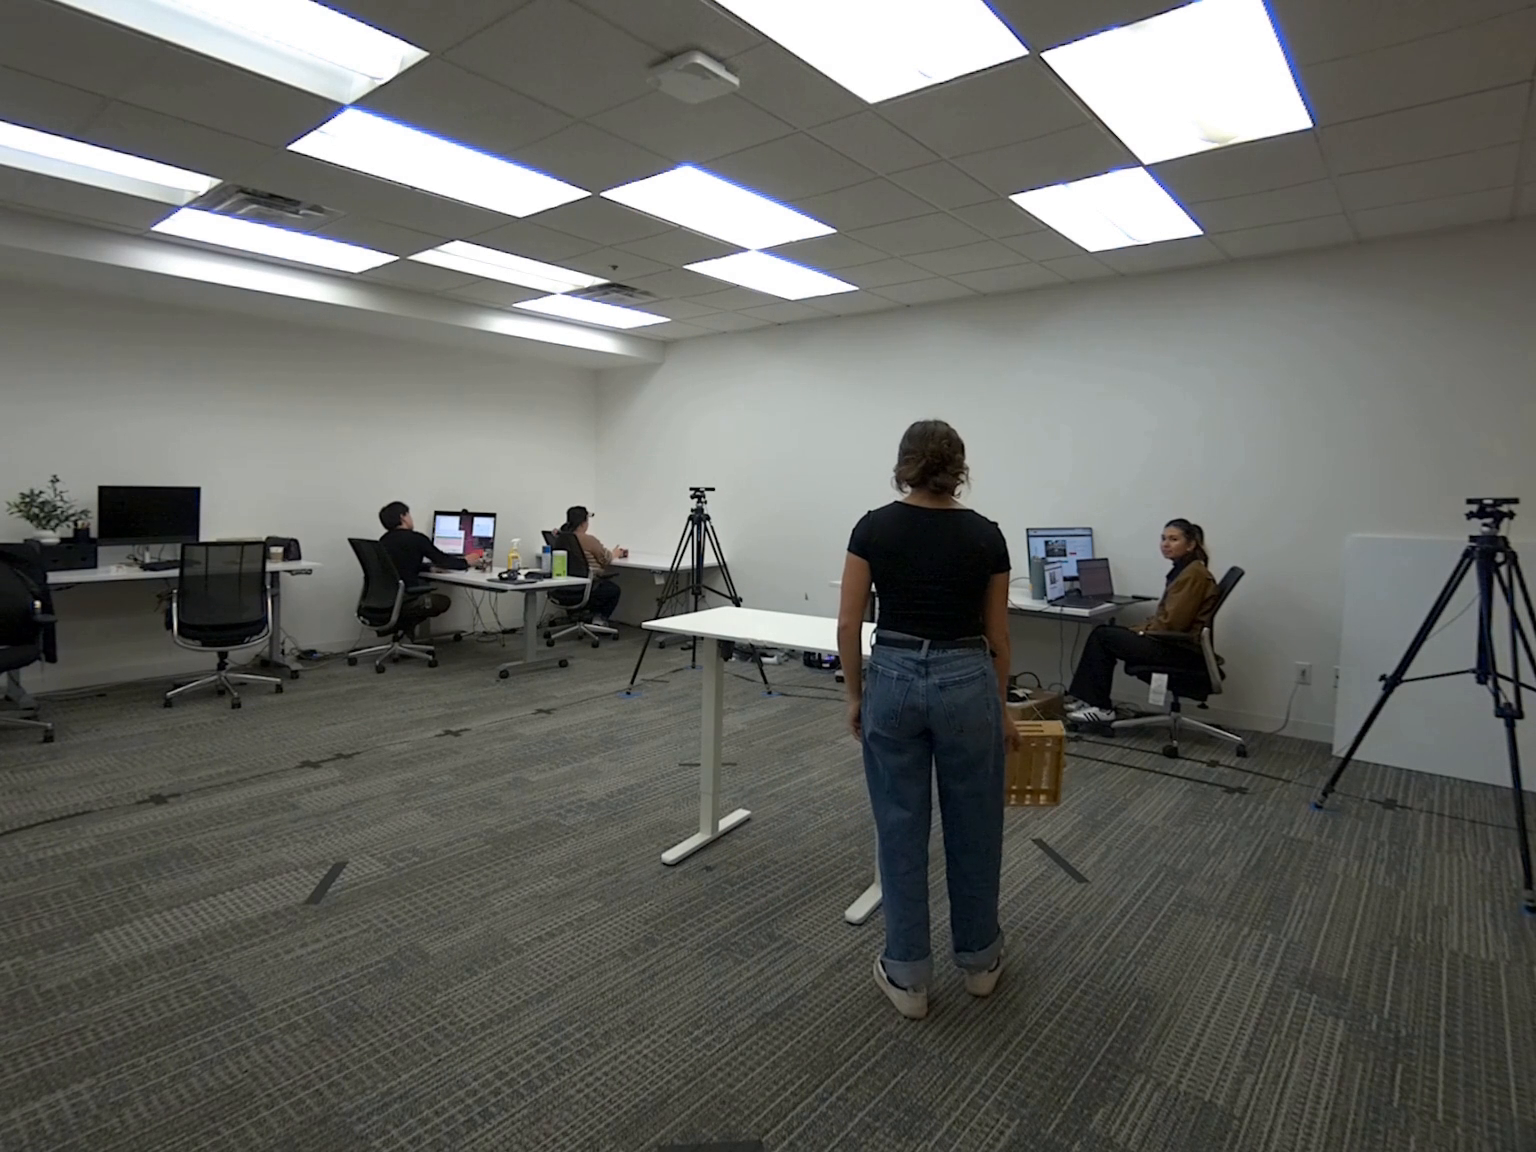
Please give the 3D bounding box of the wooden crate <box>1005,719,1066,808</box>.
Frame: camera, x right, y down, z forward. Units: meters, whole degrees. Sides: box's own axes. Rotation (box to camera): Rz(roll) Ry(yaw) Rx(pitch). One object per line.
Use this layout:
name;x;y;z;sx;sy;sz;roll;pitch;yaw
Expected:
wooden crate;0.698;0.536;2.572;0.324;0.297;0.278;-2;17;-2
